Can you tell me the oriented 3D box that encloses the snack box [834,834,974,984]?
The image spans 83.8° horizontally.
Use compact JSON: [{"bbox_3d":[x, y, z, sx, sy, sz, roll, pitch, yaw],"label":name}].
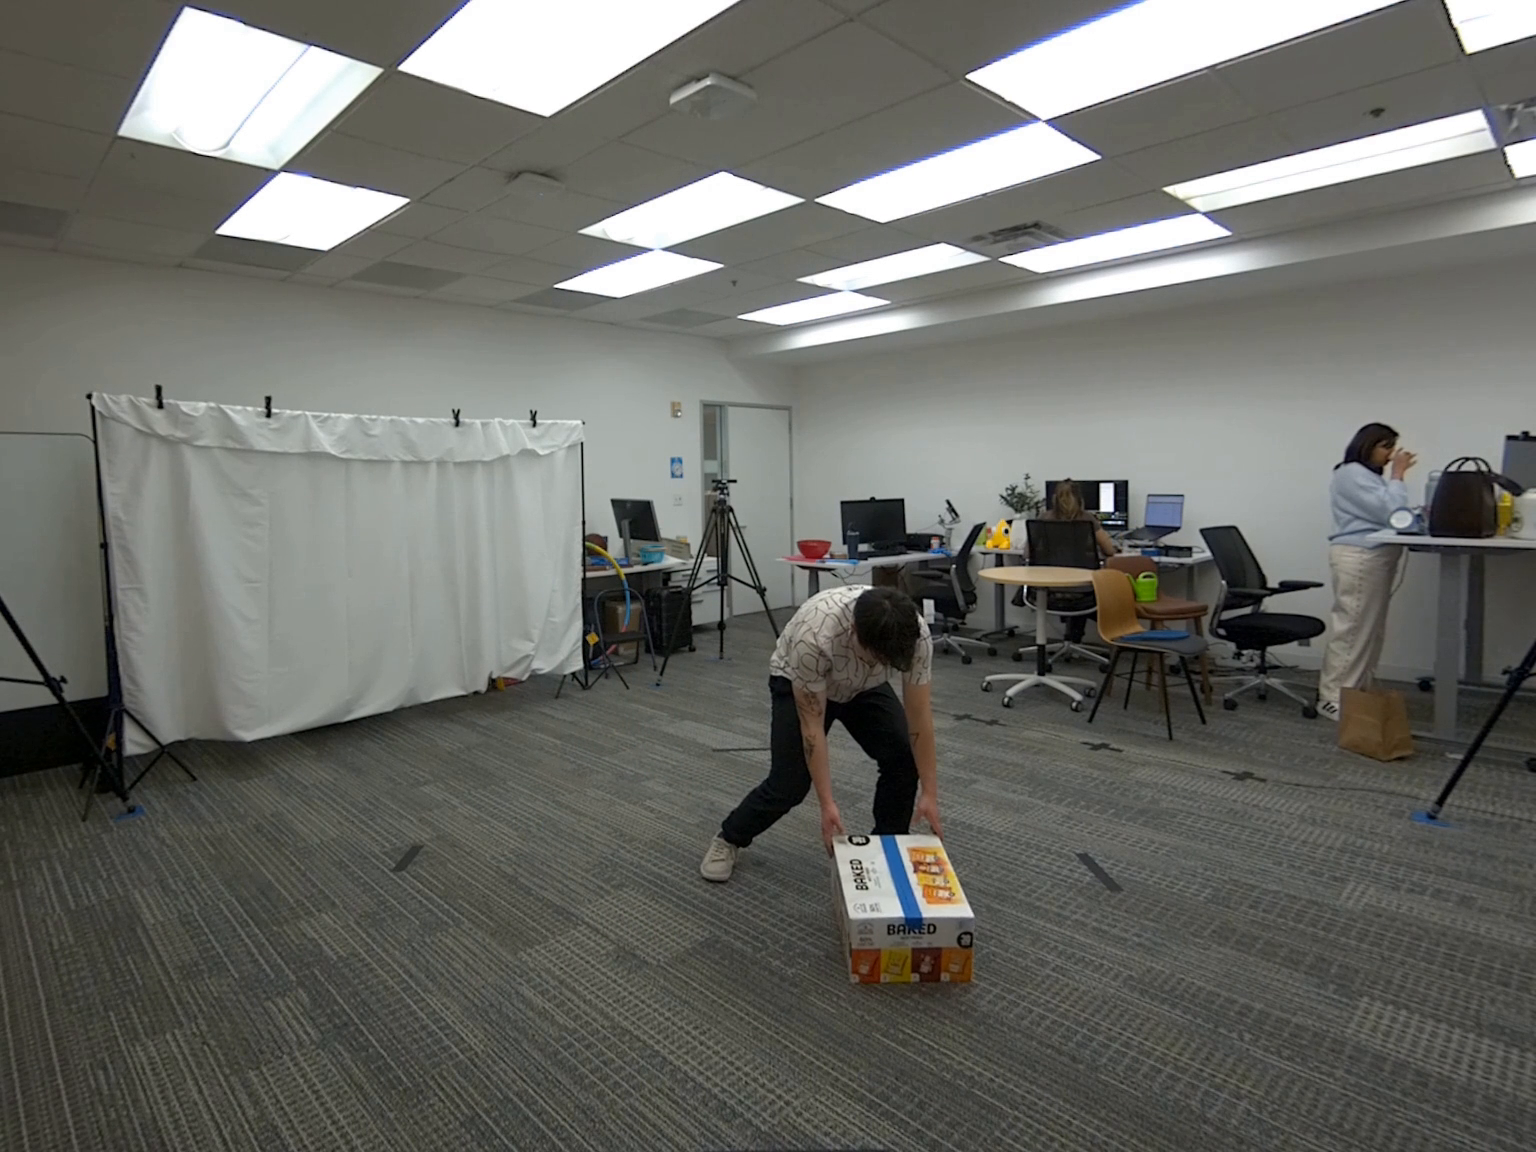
[{"bbox_3d":[0.383,0.978,2.531,0.340,0.203,0.410,-1,14,-1],"label":"snack box"}]
